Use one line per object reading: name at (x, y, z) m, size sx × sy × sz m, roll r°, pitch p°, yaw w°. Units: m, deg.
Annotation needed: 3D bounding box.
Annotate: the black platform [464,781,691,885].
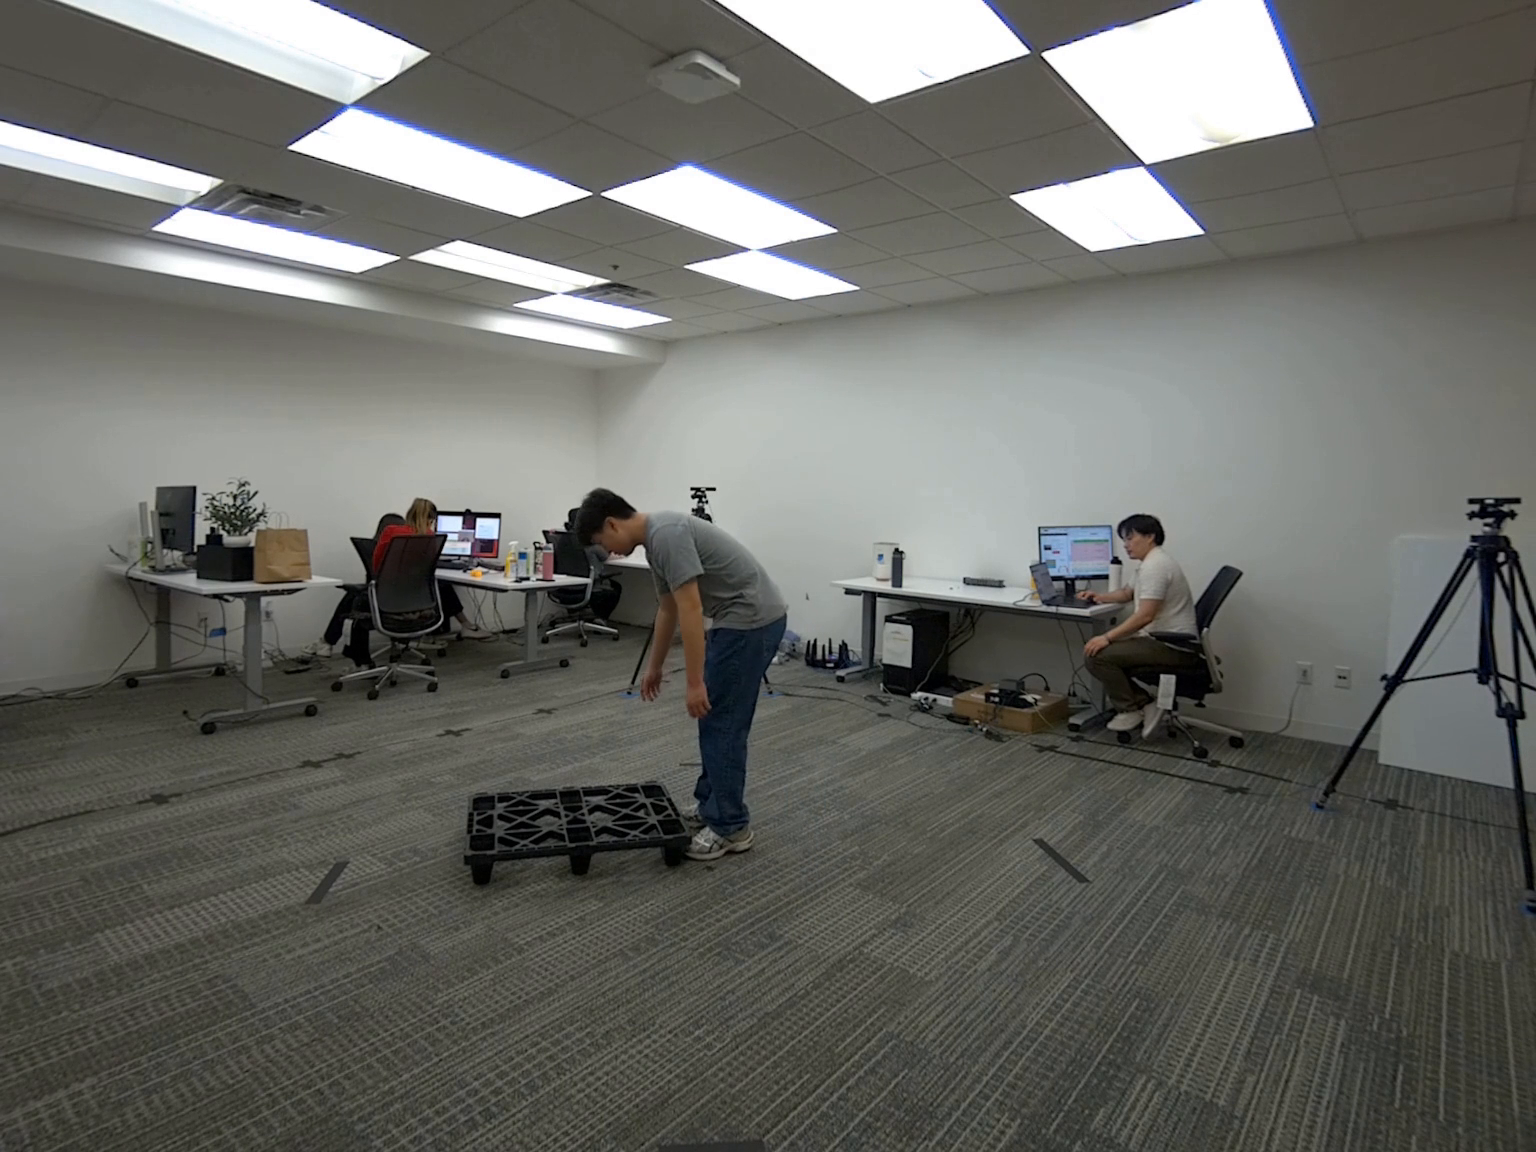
black platform at (-0.761, 0.976, 3.263) m, size 0.793 × 0.143 × 0.617 m, roll 0°, pitch 5°, yaw -16°
